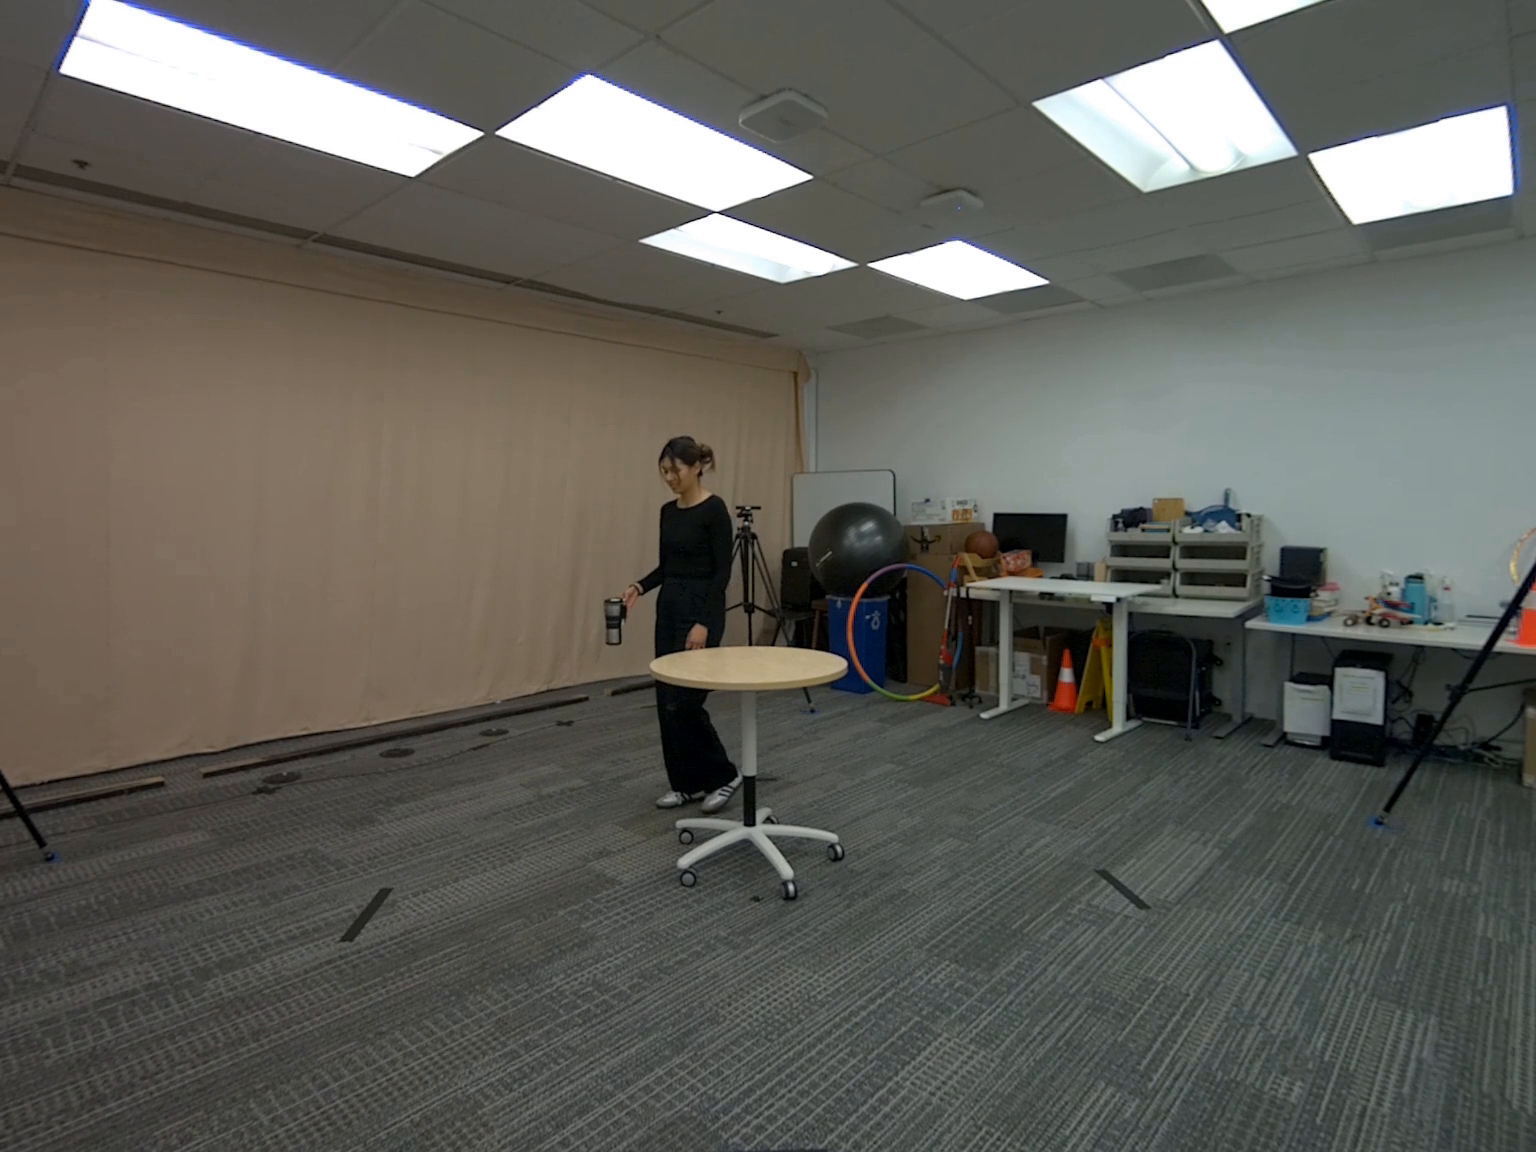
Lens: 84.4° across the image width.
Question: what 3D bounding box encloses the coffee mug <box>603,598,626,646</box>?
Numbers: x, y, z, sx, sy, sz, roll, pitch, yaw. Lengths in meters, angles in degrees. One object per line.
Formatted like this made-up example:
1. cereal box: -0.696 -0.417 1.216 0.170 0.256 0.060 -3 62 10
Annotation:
1. coffee mug: -0.704 0.206 3.749 0.118 0.202 0.091 0 4 -38
